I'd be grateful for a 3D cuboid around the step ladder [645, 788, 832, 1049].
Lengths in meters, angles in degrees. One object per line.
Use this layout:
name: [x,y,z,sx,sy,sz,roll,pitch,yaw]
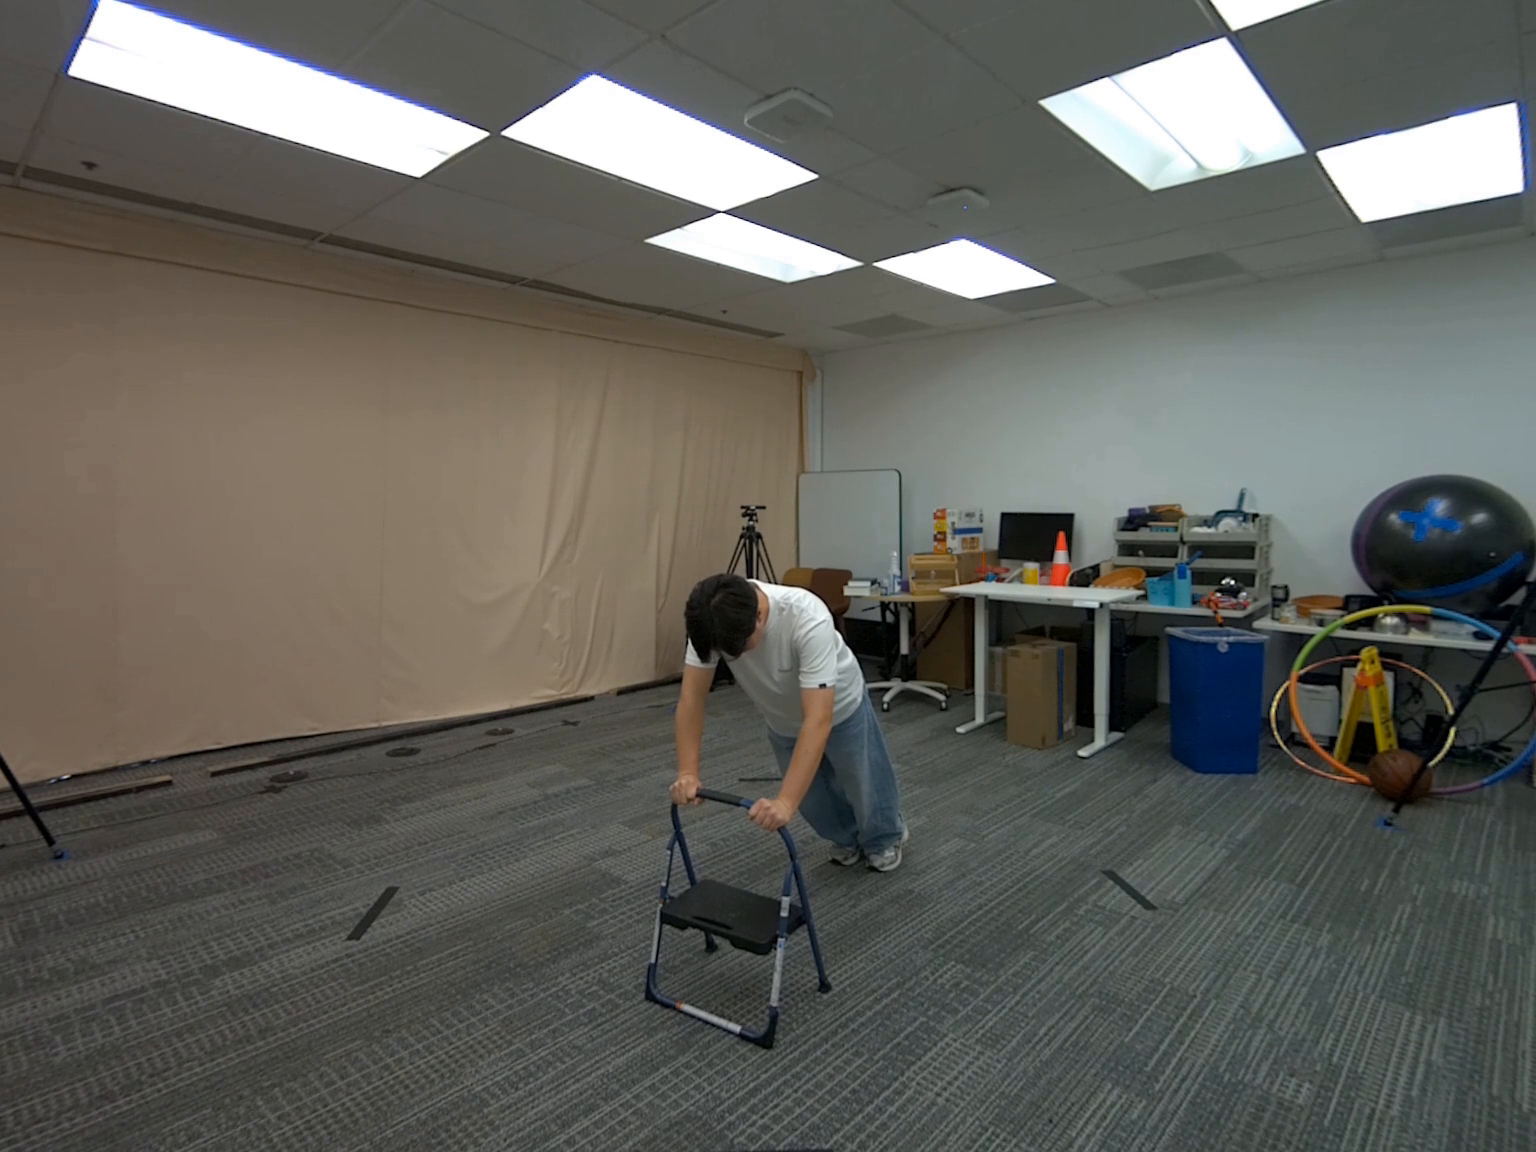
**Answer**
step ladder: [-0.089,0.890,2.383,0.443,0.604,0.340,2,5,32]
